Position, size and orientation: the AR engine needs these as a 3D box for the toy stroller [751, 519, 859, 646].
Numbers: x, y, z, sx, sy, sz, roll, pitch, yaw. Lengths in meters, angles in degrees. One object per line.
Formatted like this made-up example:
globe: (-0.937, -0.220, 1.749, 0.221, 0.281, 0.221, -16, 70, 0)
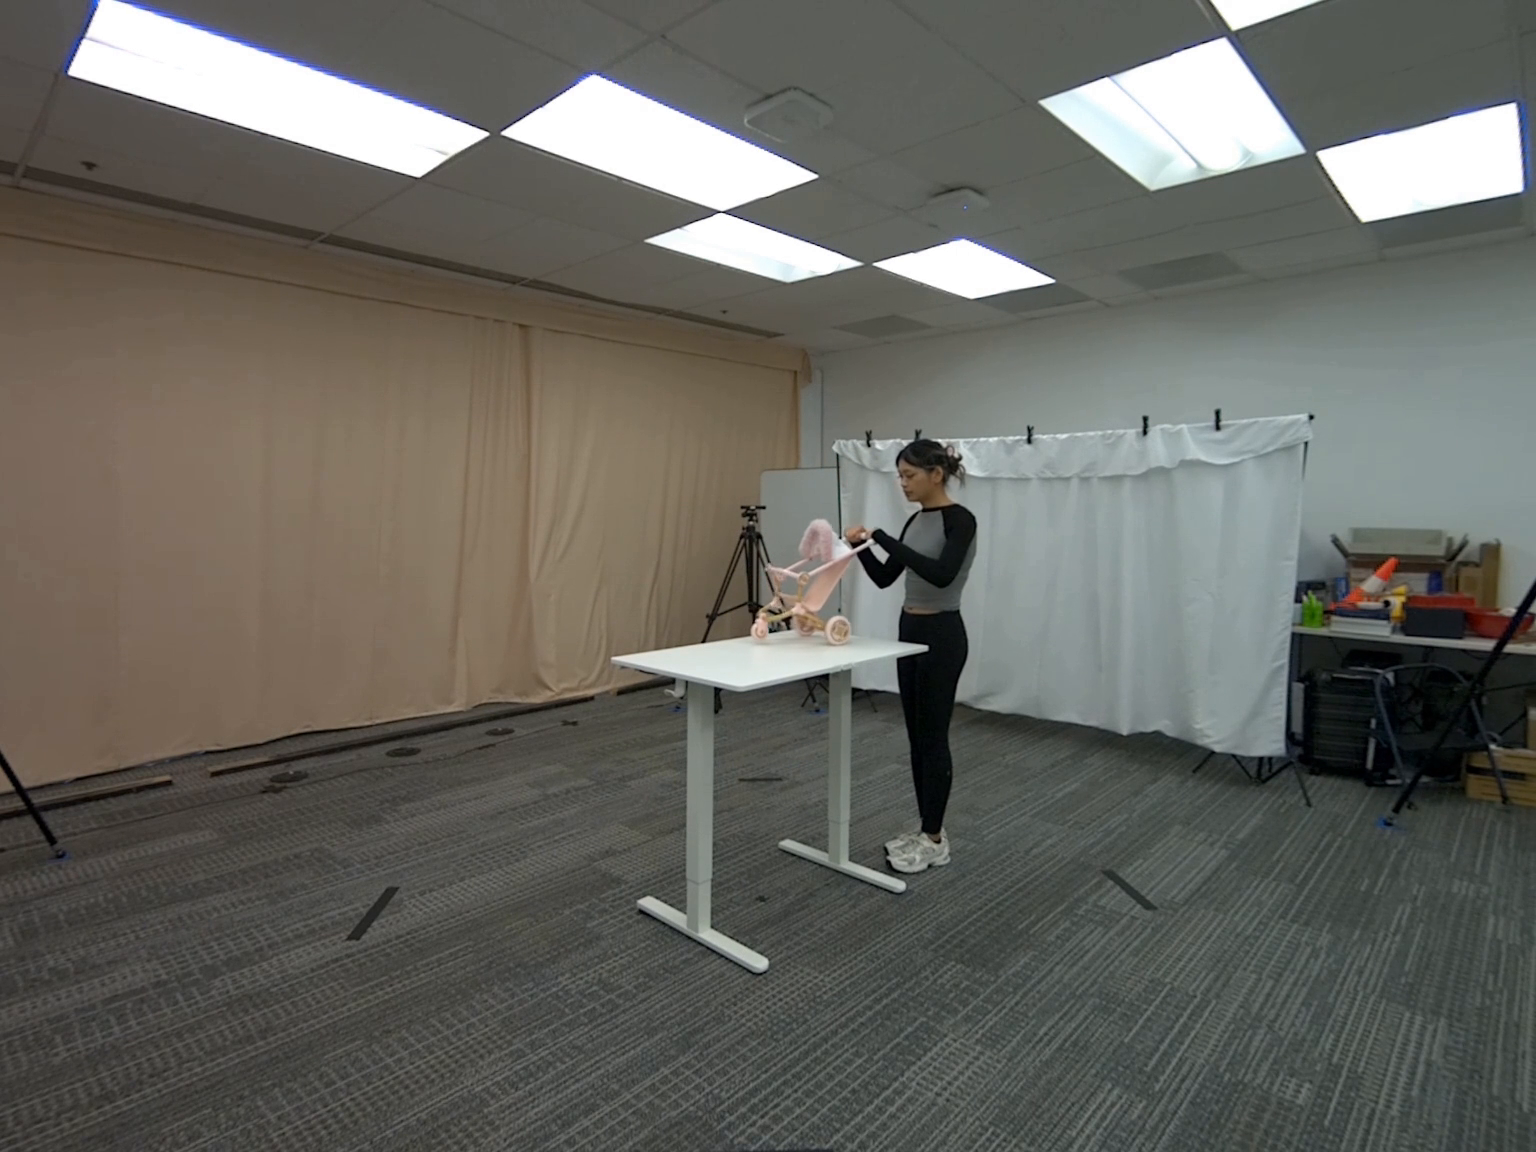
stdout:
toy stroller: (0.163, 0.024, 3.163, 0.334, 0.535, 0.287, 20, -4, -20)
